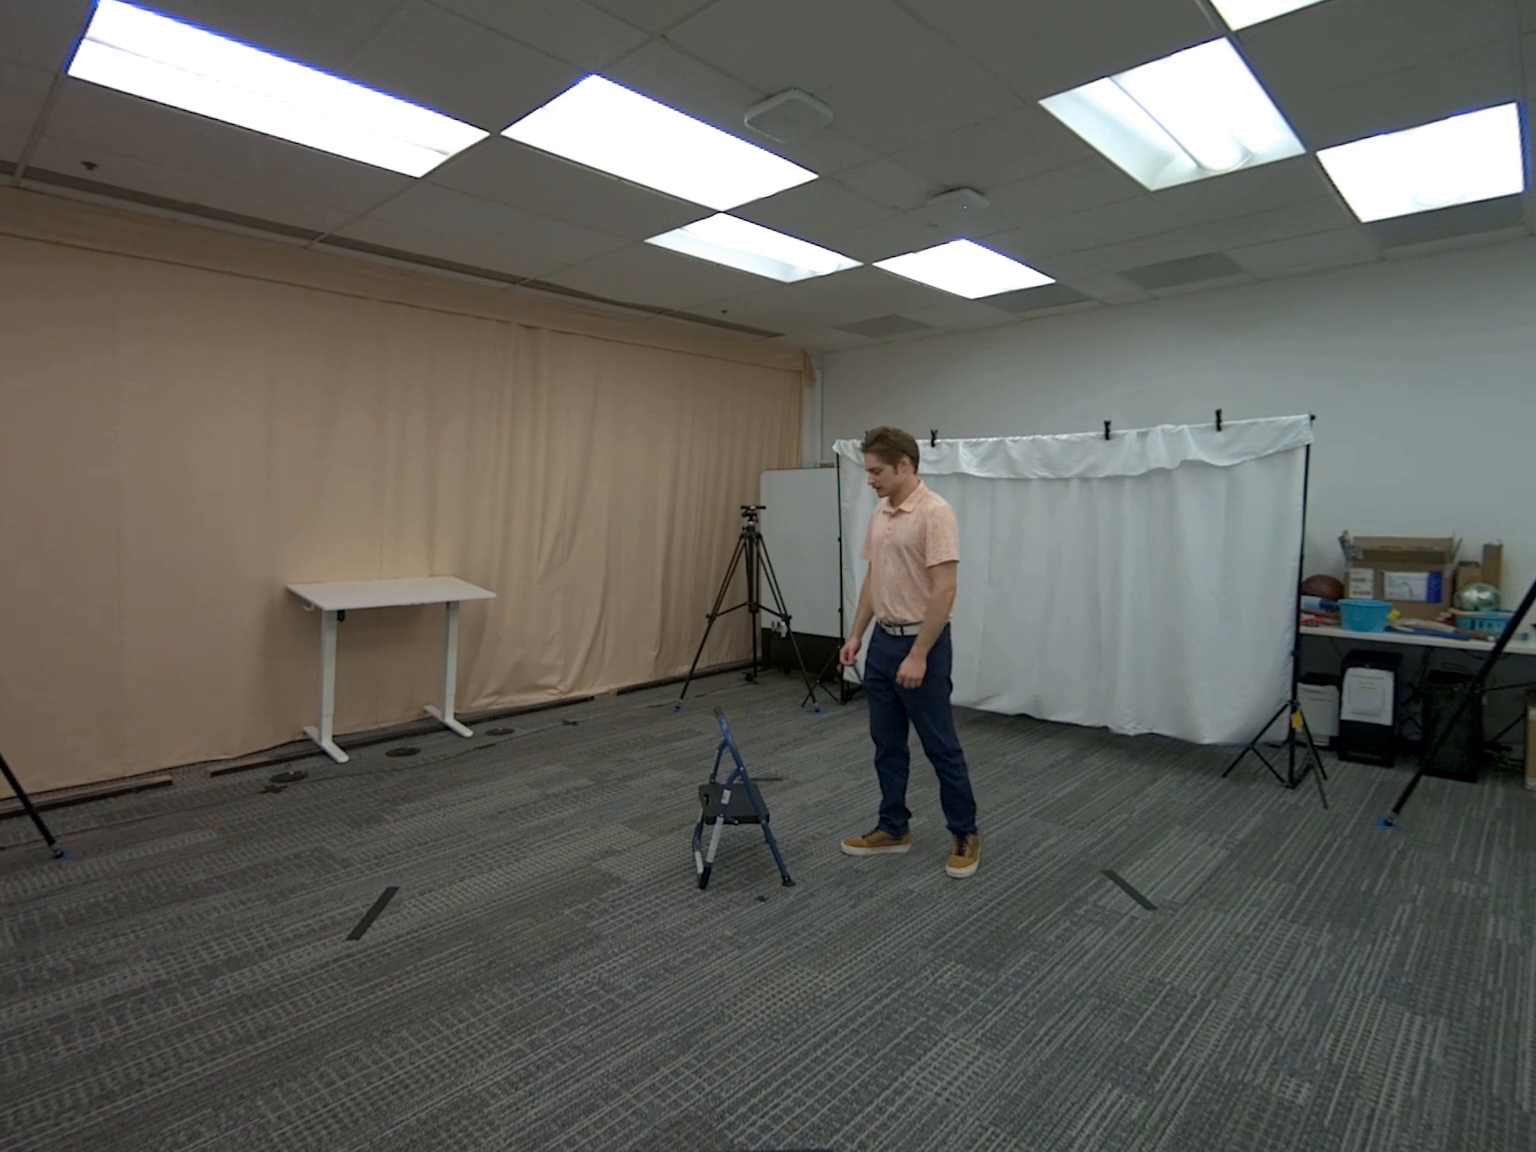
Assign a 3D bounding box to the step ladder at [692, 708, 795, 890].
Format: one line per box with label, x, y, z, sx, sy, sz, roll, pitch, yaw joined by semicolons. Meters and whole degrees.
step ladder;-0.109;0.825;3.260;0.346;0.605;0.435;0;3;-9
